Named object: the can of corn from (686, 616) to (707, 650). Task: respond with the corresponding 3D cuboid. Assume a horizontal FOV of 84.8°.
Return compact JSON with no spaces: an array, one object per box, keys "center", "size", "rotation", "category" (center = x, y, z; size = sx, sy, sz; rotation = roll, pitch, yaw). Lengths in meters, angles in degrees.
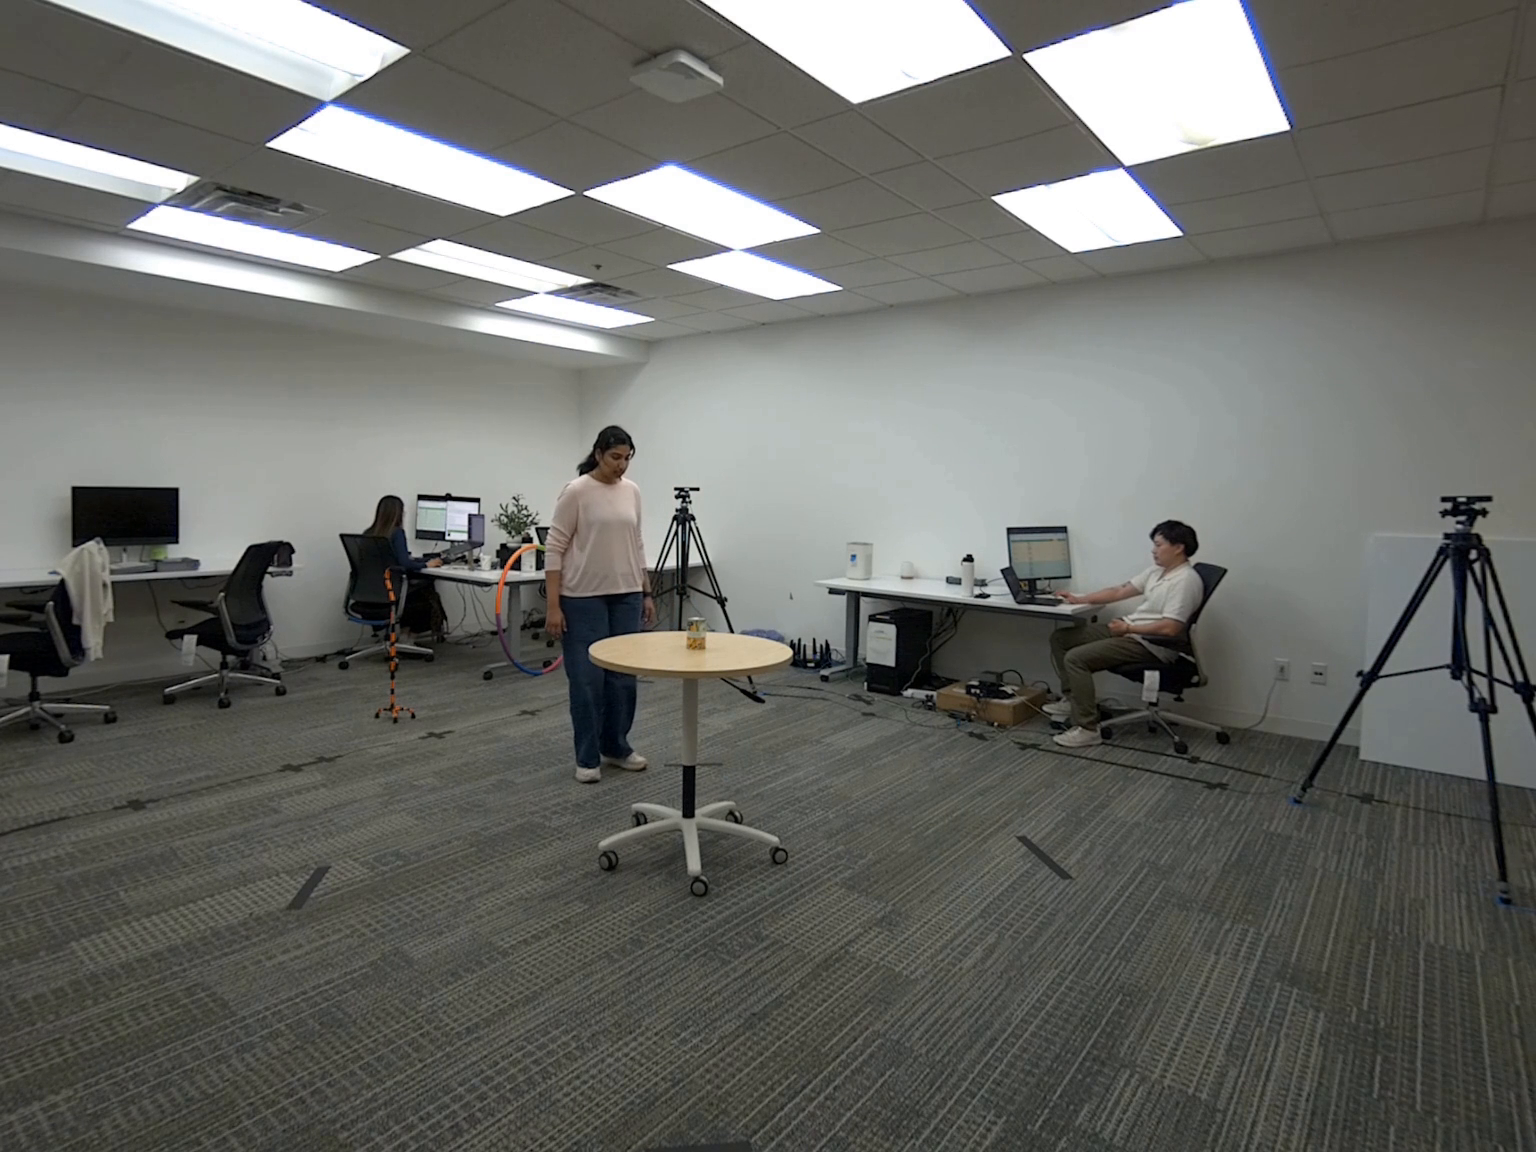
[{"center":[-0.281,0.216,3.221],"size":[0.074,0.111,0.074],"rotation":[0,4,-2],"category":"can of corn"}]
